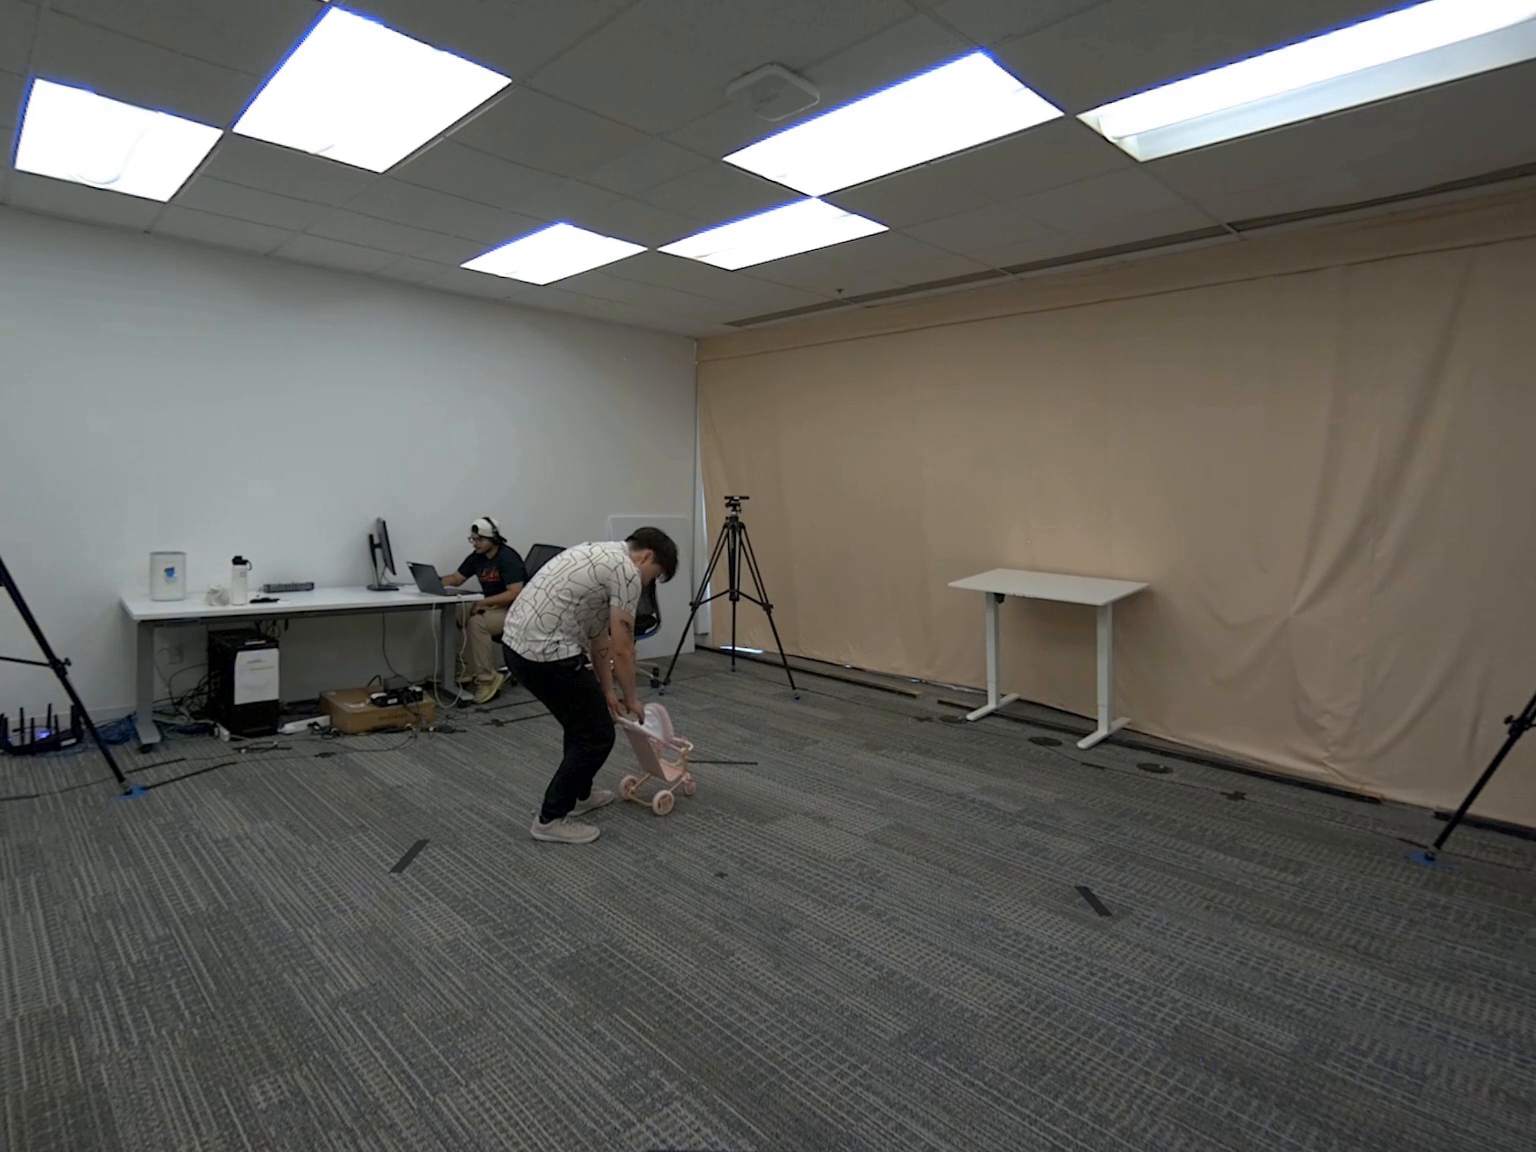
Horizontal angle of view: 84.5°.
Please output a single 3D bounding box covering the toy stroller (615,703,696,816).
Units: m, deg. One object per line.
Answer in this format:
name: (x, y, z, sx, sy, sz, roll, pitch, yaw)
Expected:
toy stroller: (-0.507, 0.809, 3.800, 0.337, 0.529, 0.289, -21, 18, -37)
